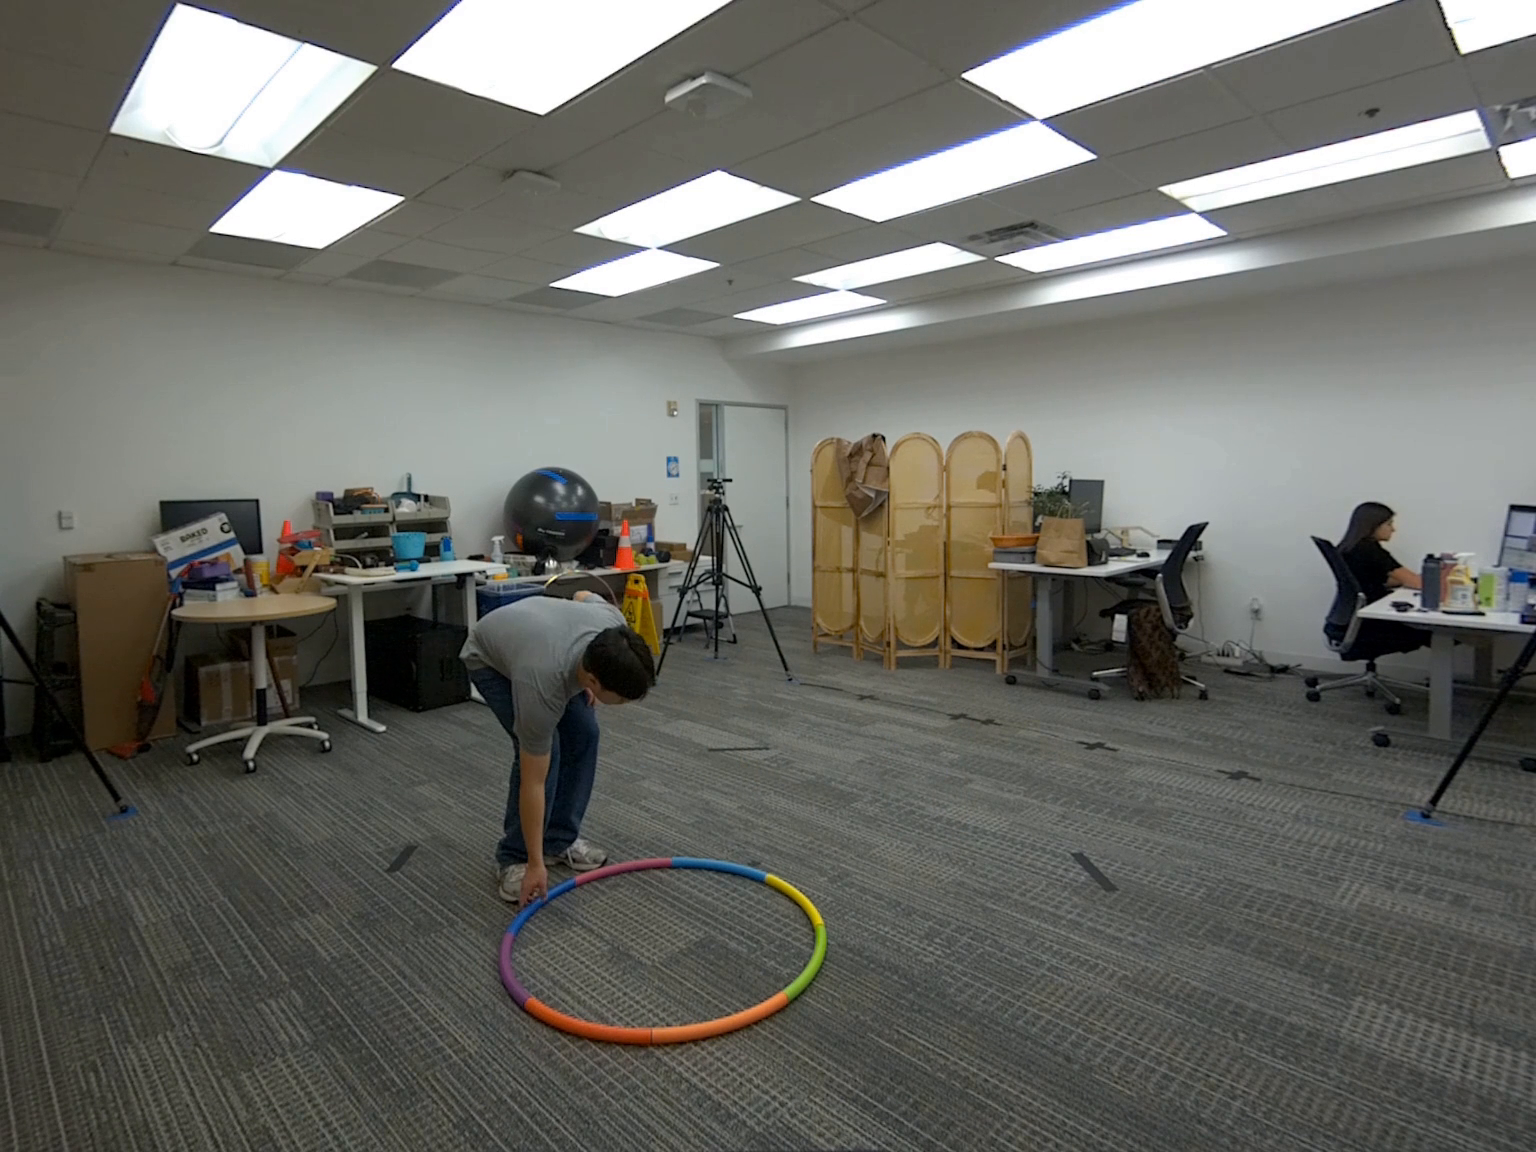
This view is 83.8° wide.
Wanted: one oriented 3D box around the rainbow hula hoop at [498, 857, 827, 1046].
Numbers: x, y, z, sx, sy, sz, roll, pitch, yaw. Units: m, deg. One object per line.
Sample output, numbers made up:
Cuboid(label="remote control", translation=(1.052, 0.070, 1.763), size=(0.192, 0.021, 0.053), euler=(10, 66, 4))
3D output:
Cuboid(label="rainbow hula hoop", translation=(-0.314, 1.078, 2.607), size=(0.978, 0.035, 0.985), euler=(-2, 7, -2))
